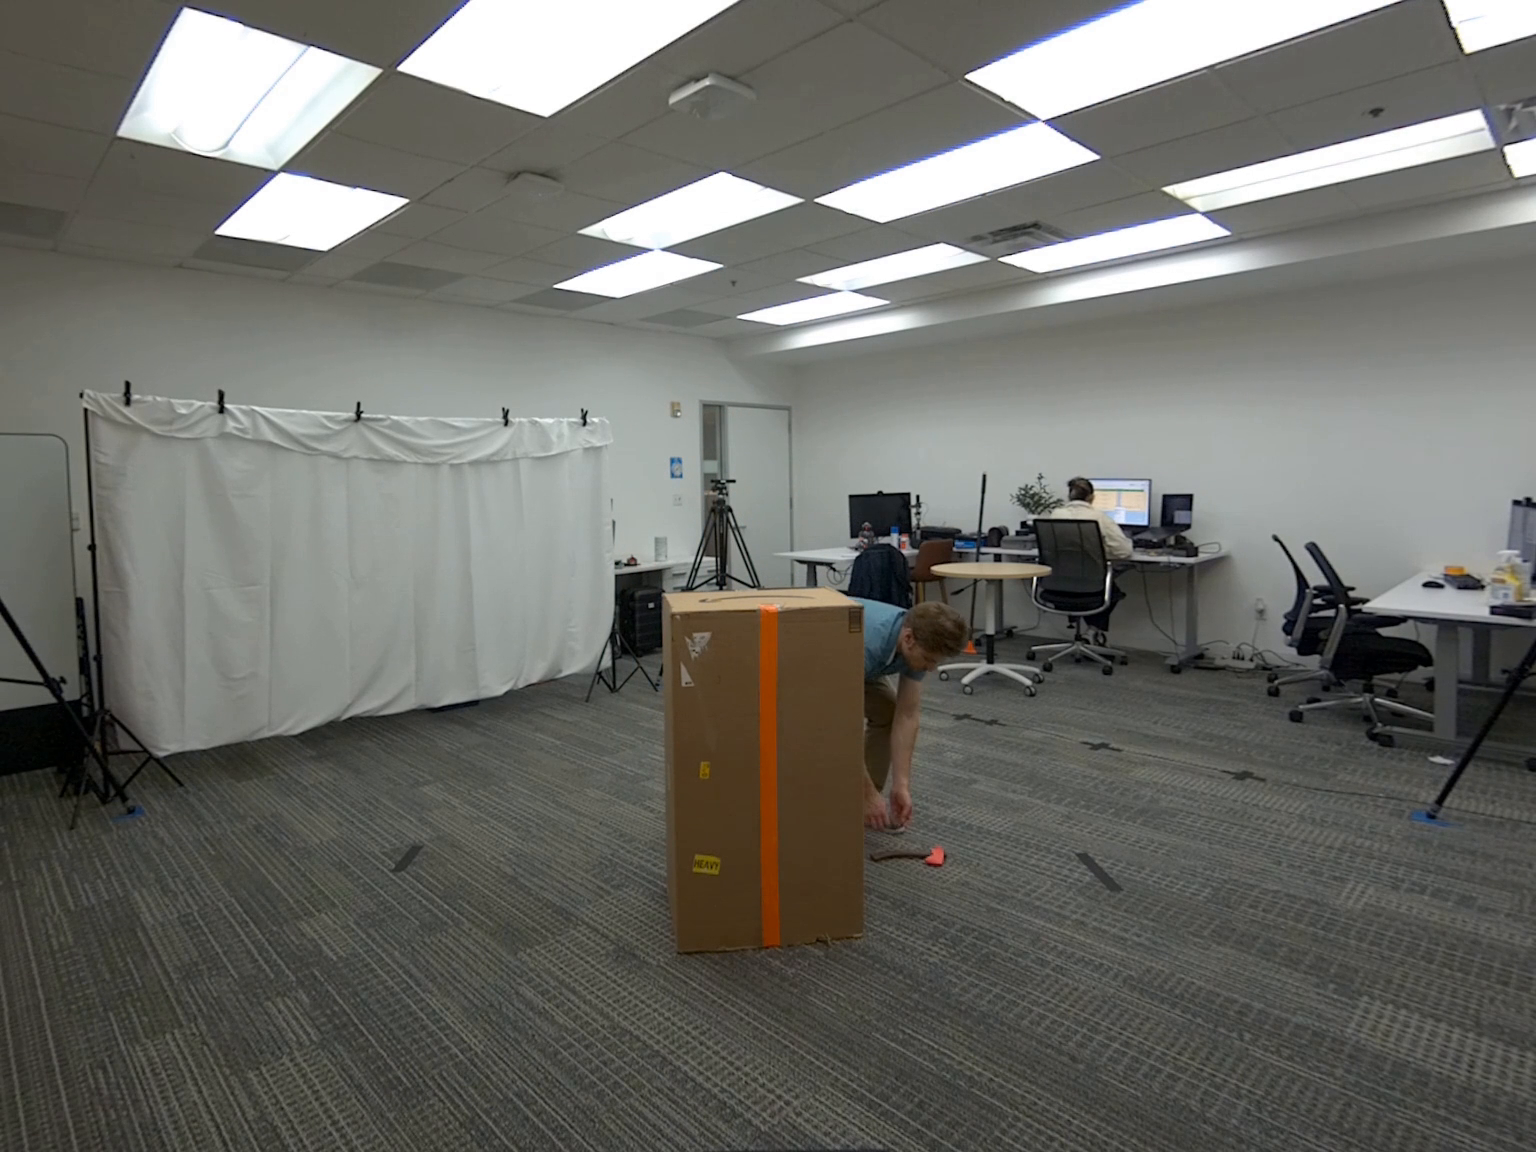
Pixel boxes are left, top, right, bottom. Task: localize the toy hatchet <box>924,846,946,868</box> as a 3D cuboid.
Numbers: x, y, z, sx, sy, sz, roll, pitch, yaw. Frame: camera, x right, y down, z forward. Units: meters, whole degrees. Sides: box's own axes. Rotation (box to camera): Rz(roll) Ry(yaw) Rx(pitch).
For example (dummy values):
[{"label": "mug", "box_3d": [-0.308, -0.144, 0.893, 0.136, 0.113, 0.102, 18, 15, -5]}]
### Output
[{"label": "toy hatchet", "box_3d": [0.518, 1.024, 3.097, 0.268, 0.029, 0.133, -6, 10, -10]}]
